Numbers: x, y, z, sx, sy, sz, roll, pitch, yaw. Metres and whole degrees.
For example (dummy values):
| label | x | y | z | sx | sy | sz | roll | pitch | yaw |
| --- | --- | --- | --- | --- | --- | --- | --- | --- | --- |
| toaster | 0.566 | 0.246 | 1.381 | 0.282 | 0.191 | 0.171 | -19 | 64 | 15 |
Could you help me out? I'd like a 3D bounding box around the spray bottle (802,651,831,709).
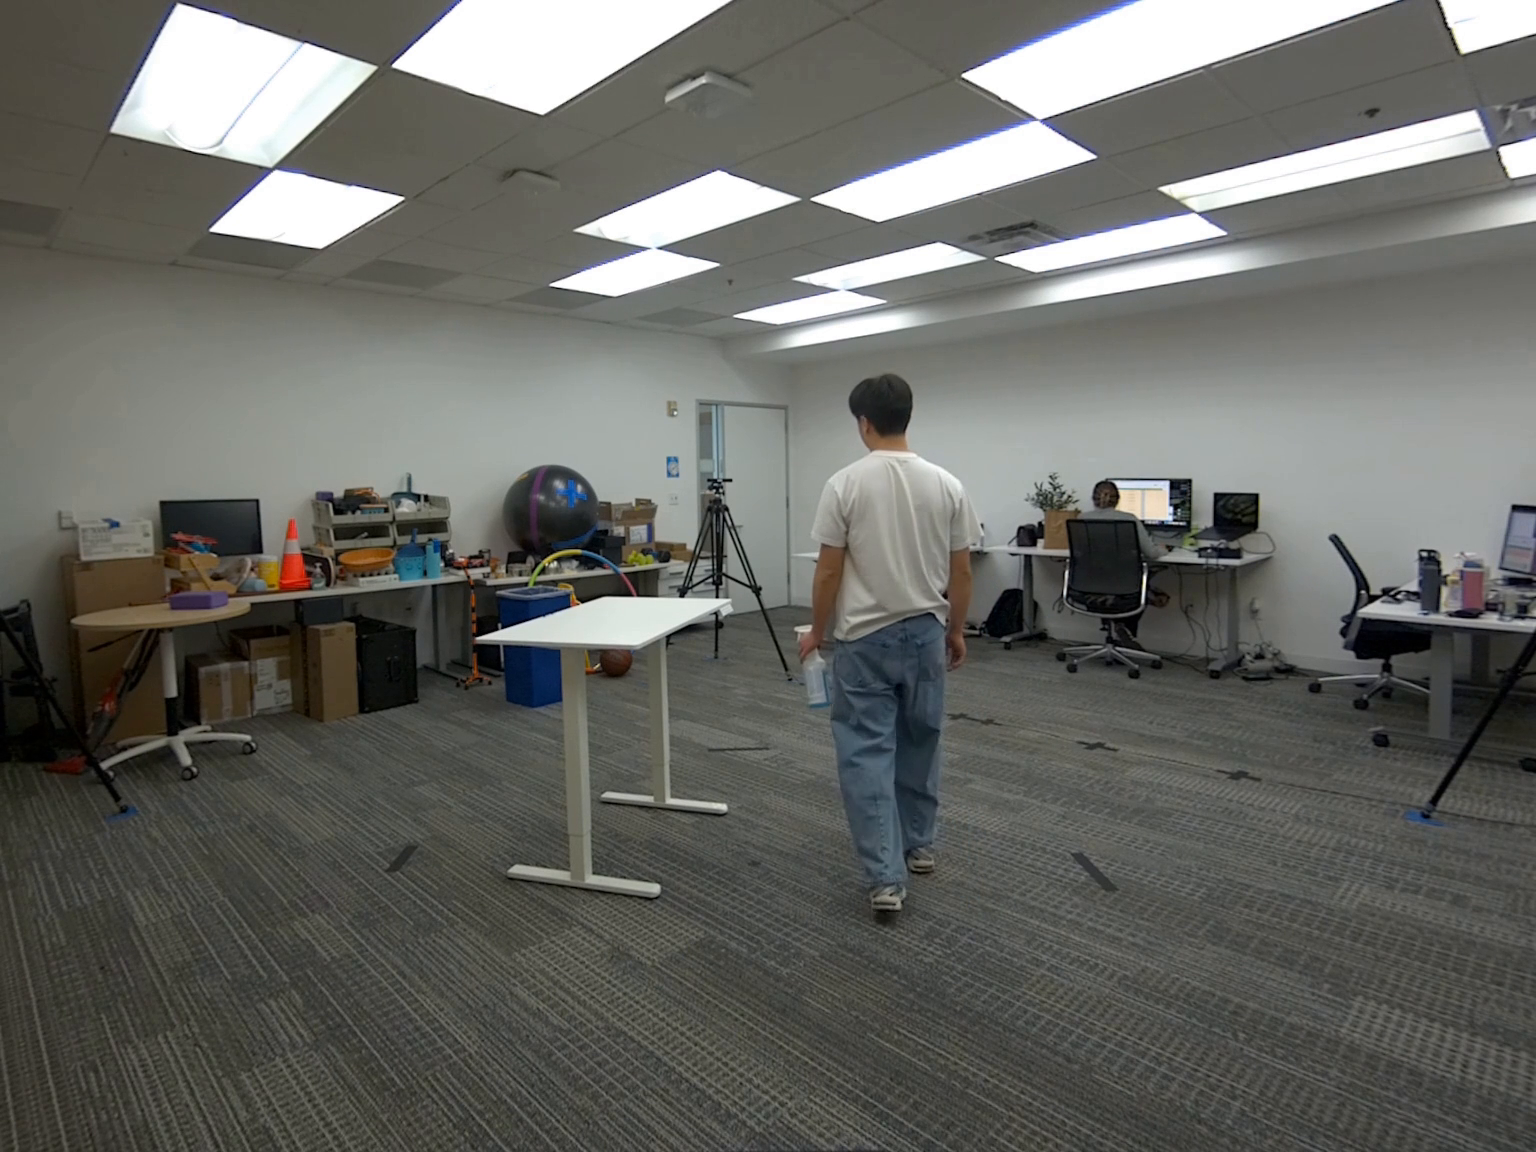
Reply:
| label | x | y | z | sx | sy | sz | roll | pitch | yaw |
| --- | --- | --- | --- | --- | --- | --- | --- | --- | --- |
| spray bottle | 0.171 | 0.318 | 3.057 | 0.084 | 0.300 | 0.091 | -1 | -13 | -43 |
